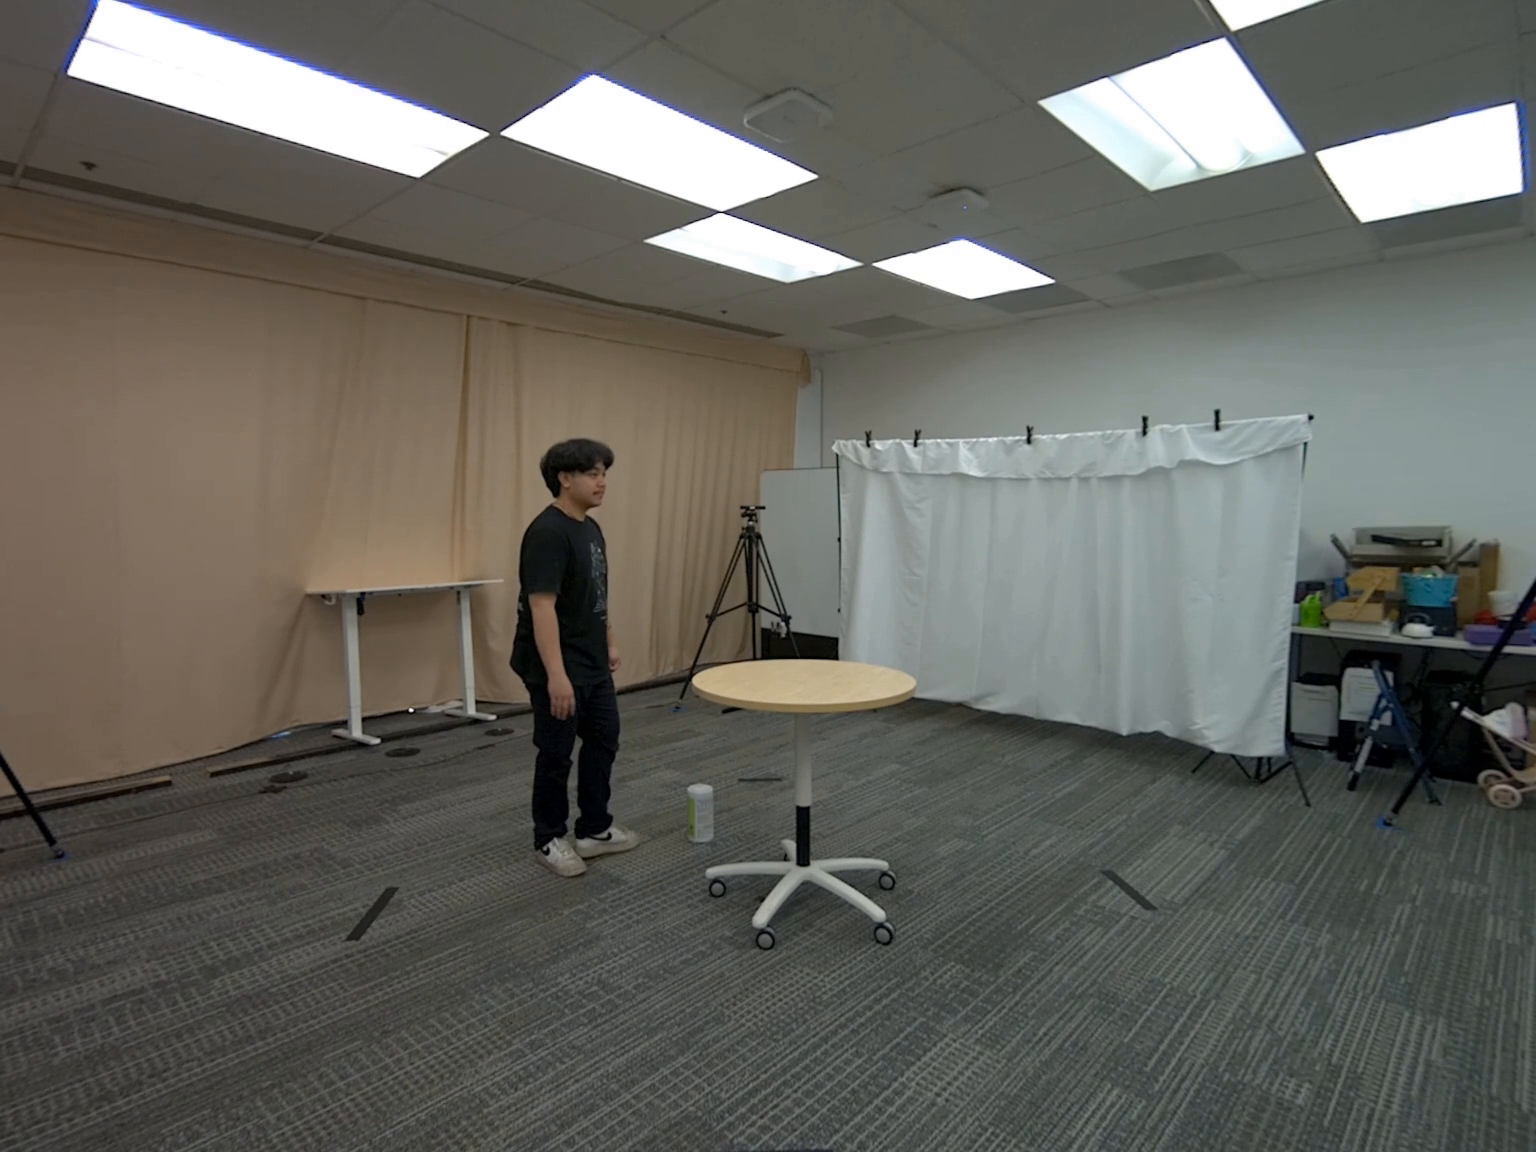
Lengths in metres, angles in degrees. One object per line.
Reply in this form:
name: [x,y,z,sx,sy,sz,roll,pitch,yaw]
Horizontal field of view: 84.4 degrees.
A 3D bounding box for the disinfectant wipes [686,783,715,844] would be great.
disinfectant wipes: [-0.278,1.002,3.537,0.118,0.217,0.118,-2,4,-2]
